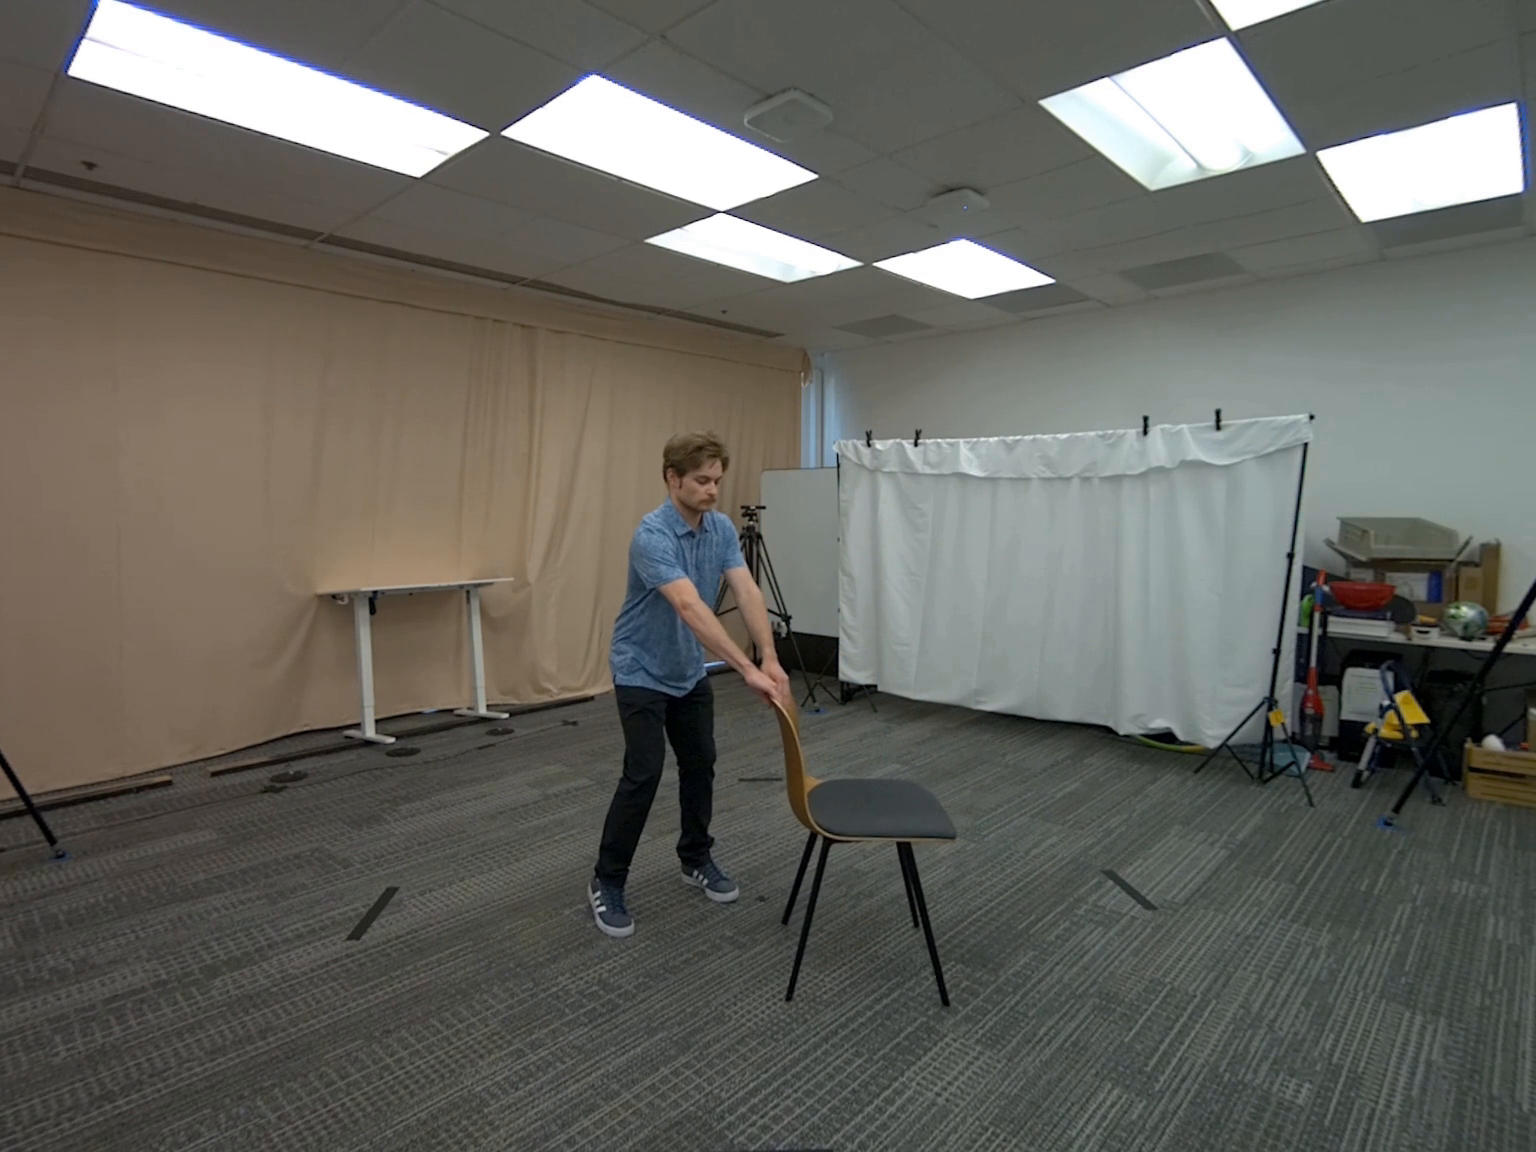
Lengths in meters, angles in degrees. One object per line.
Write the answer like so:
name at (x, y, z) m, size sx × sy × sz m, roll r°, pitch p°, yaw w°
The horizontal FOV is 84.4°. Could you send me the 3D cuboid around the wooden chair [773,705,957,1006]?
wooden chair at (0.290, 0.752, 2.545) m, size 0.524 × 0.876 × 0.478 m, roll -4°, pitch 3°, yaw 1°
